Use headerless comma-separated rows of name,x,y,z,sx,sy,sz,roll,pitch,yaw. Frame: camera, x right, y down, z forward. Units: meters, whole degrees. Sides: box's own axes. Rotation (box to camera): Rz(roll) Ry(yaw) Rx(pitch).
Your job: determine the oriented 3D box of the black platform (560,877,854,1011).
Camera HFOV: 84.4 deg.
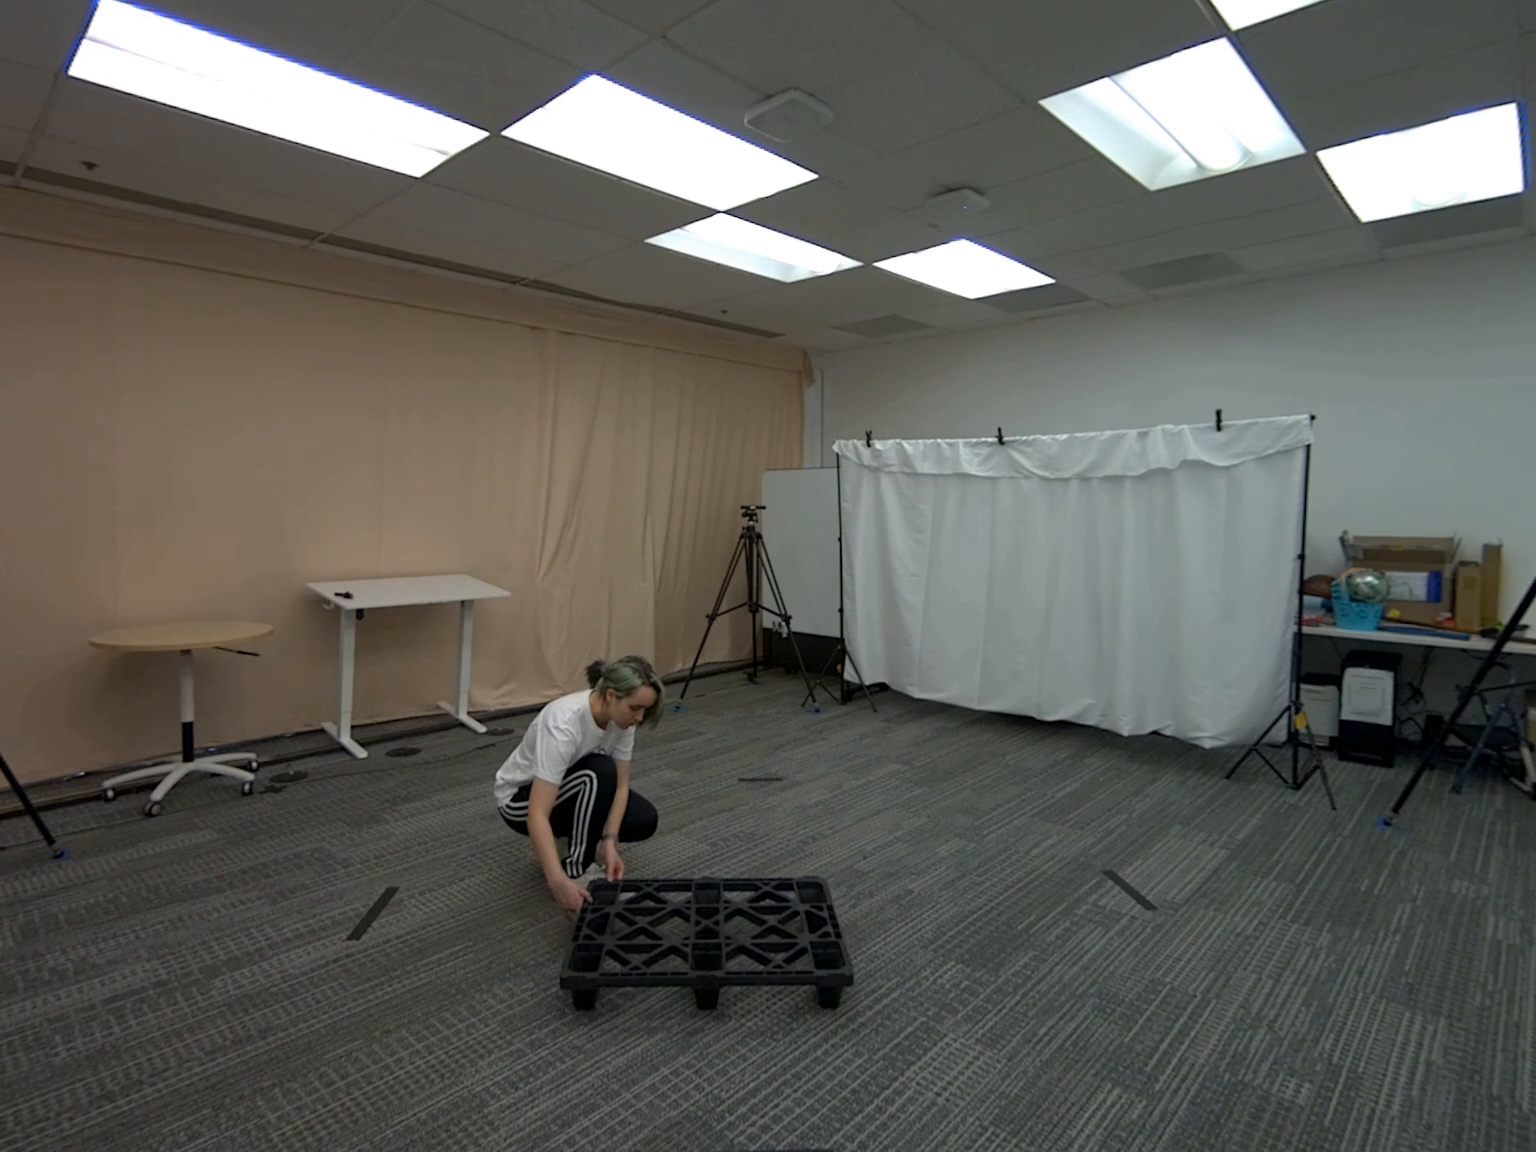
black platform,-0.177,1.112,2.549,0.805,0.143,0.607,-1,6,-1
